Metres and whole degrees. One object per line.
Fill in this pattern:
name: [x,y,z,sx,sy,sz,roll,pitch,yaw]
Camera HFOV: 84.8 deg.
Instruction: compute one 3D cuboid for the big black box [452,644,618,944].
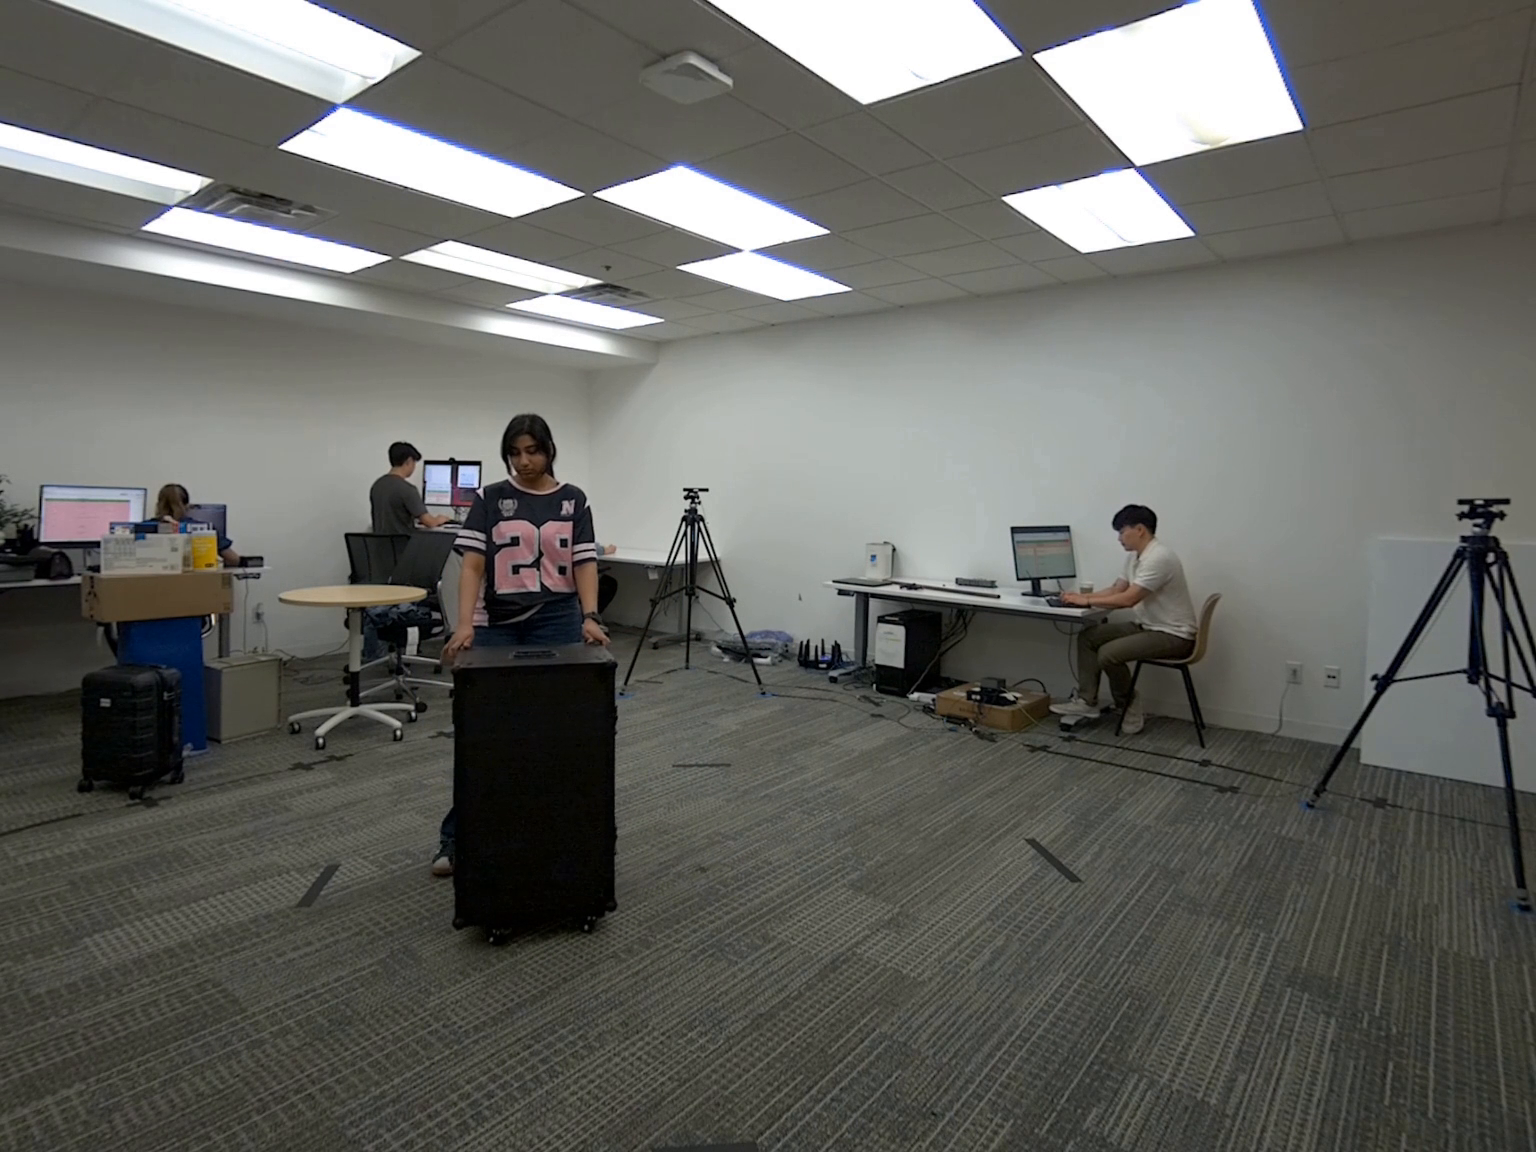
big black box: [-0.770,0.675,2.736,0.514,0.867,0.393,-1,2,-17]
